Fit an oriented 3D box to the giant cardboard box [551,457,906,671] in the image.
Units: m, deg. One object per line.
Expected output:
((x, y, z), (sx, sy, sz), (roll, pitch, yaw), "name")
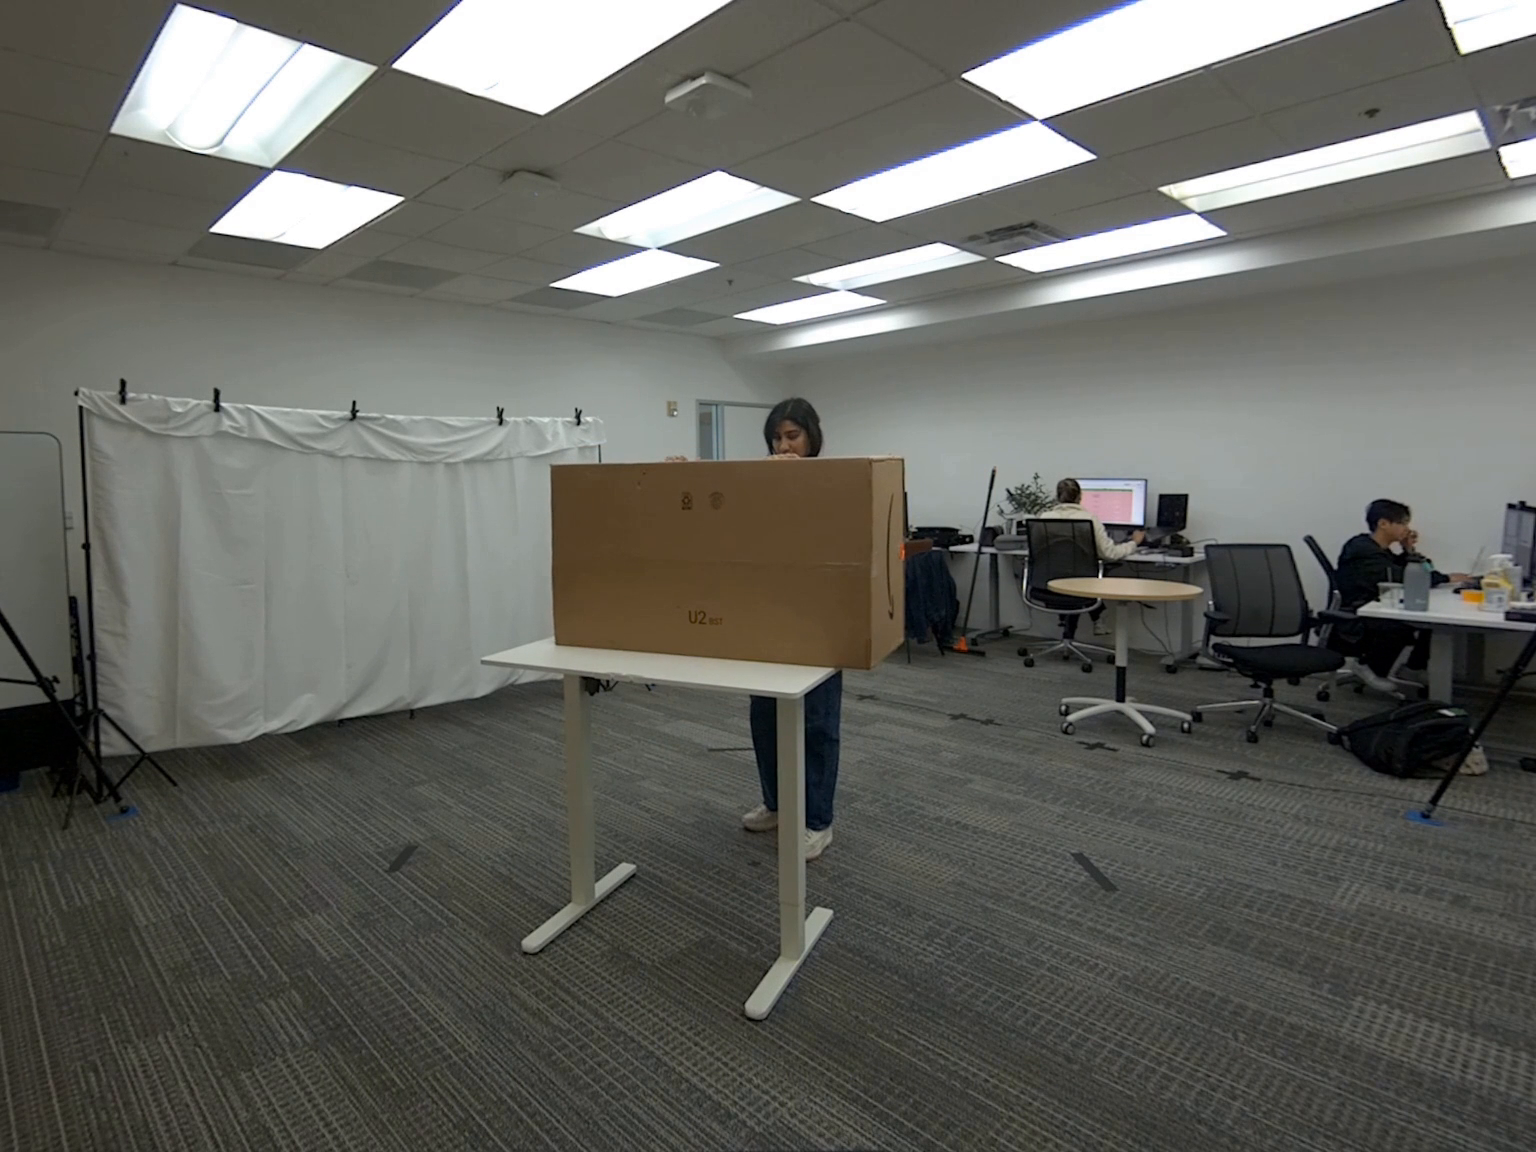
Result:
((-0.130, -0.075, 2.663), (1.048, 0.575, 0.419), (2, 5, 23), "giant cardboard box")
